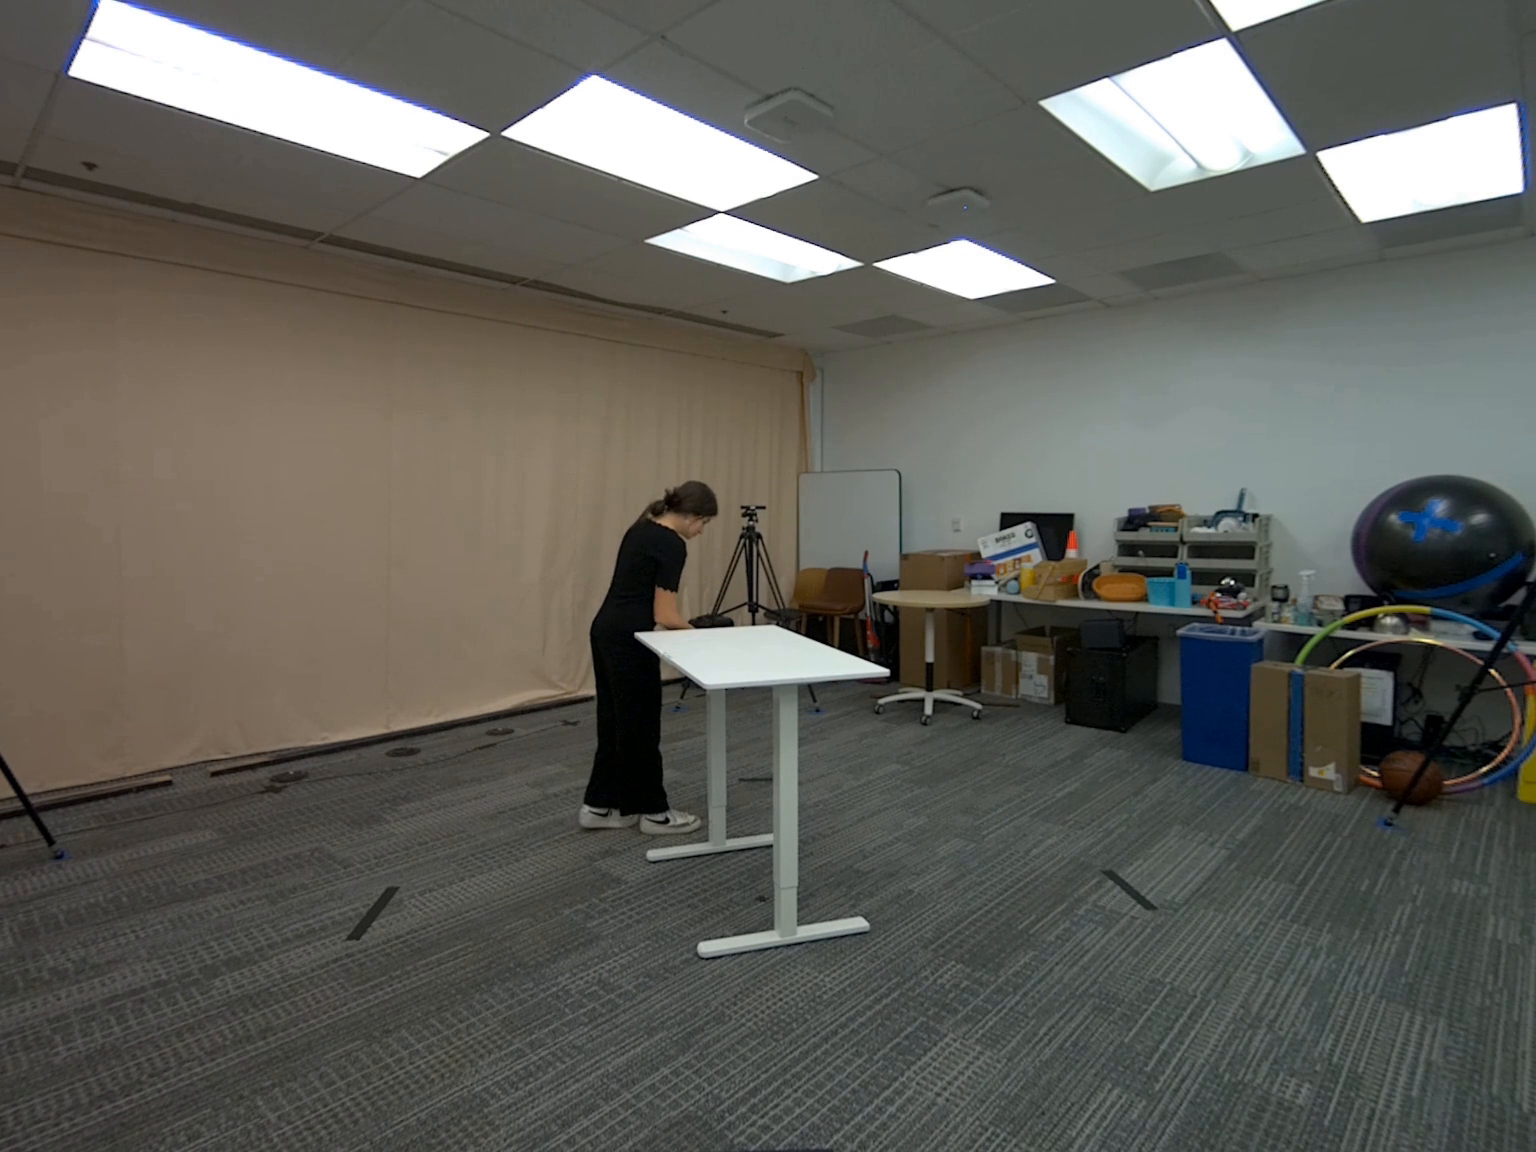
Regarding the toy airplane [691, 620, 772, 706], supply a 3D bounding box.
[{"bbox_3d":[-0.164,0.379,3.680,0.154,0.254,0.260,-31,-11,-32],"label":"toy airplane"}]
